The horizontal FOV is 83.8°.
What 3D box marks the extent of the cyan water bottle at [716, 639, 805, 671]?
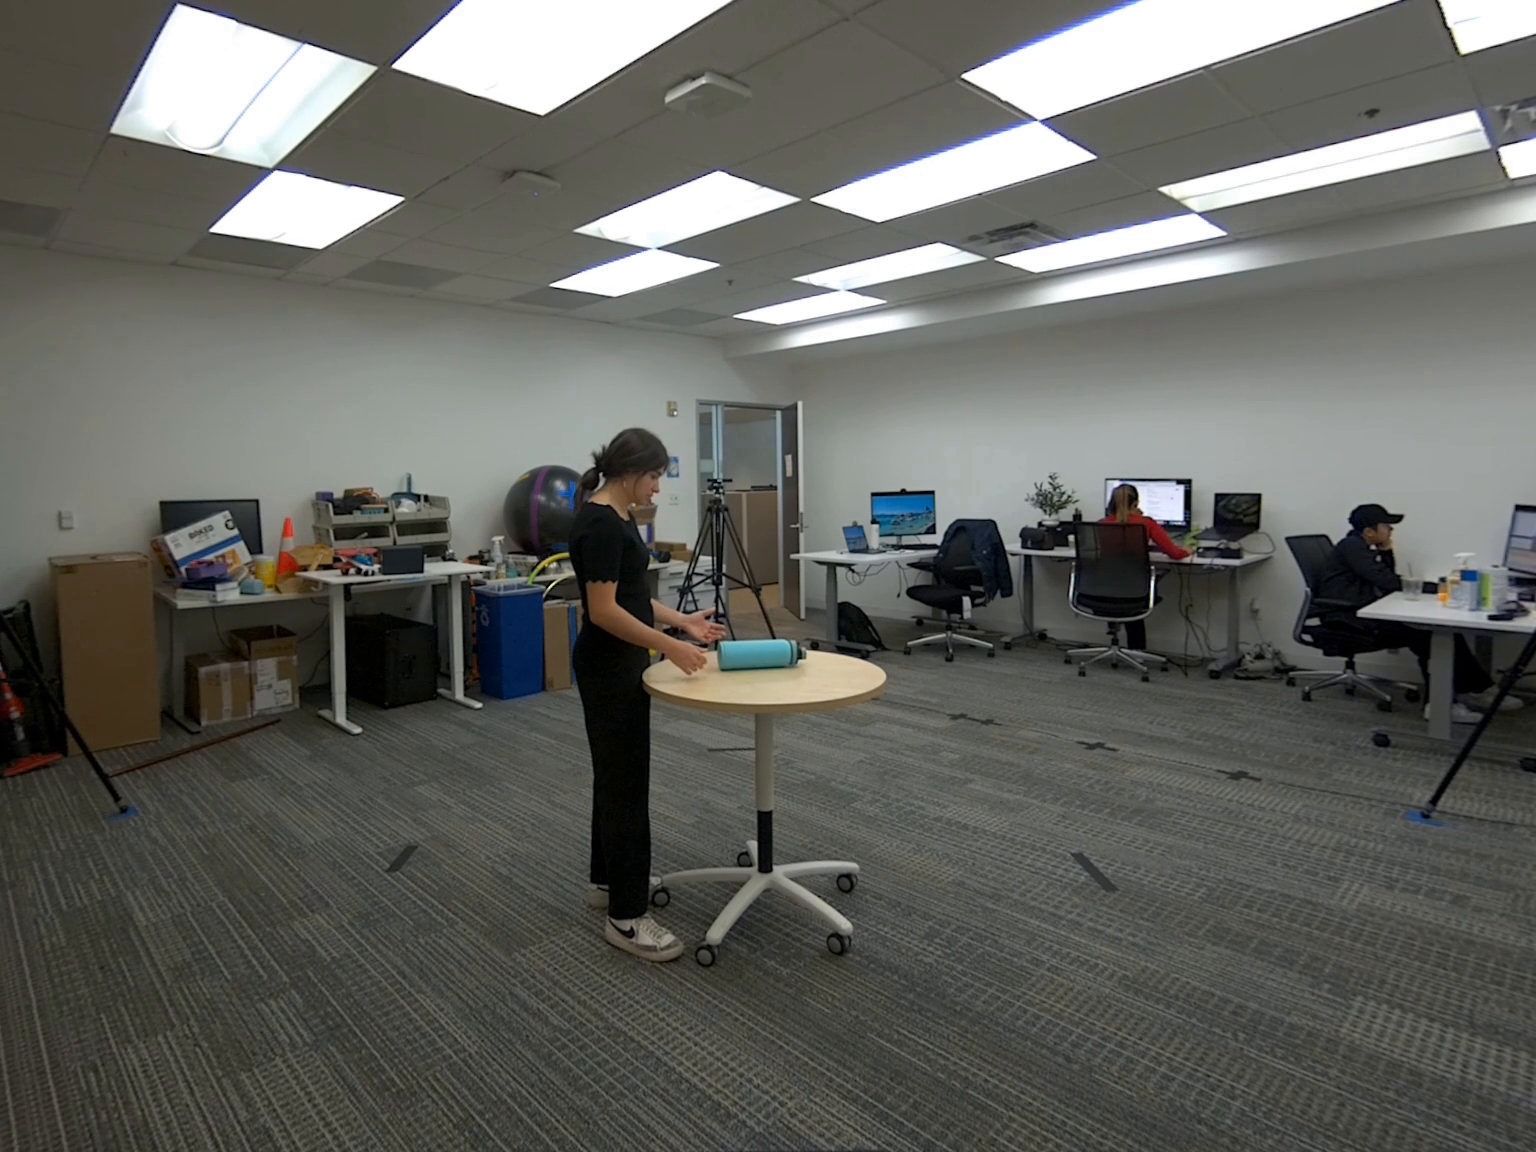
[{"bbox_3d":[-0.022,0.252,2.773,0.281,0.092,0.093,-2,5,-10],"label":"cyan water bottle"}]
